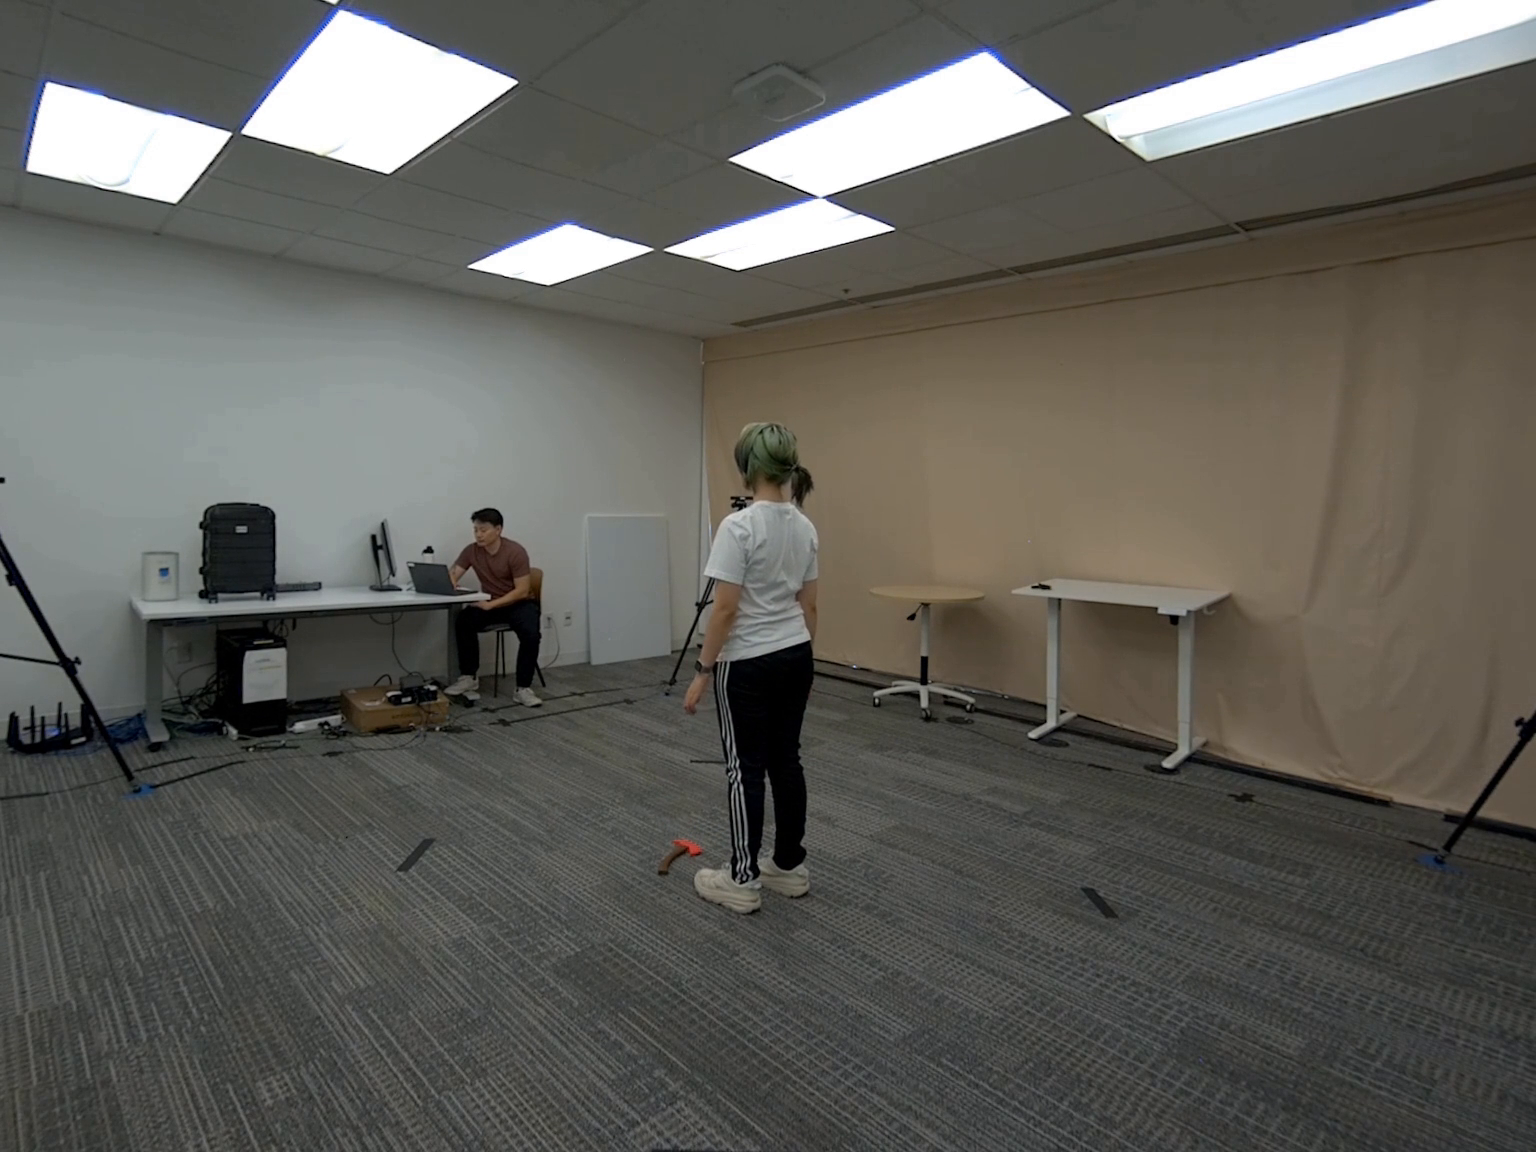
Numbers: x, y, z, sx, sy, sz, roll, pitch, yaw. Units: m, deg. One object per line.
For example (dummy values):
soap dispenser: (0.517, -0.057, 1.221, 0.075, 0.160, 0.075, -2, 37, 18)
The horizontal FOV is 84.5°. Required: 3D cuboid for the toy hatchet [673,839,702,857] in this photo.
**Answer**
toy hatchet: (-0.337, 1.085, 3.214, 0.132, 0.029, 0.270, 6, 9, 6)
